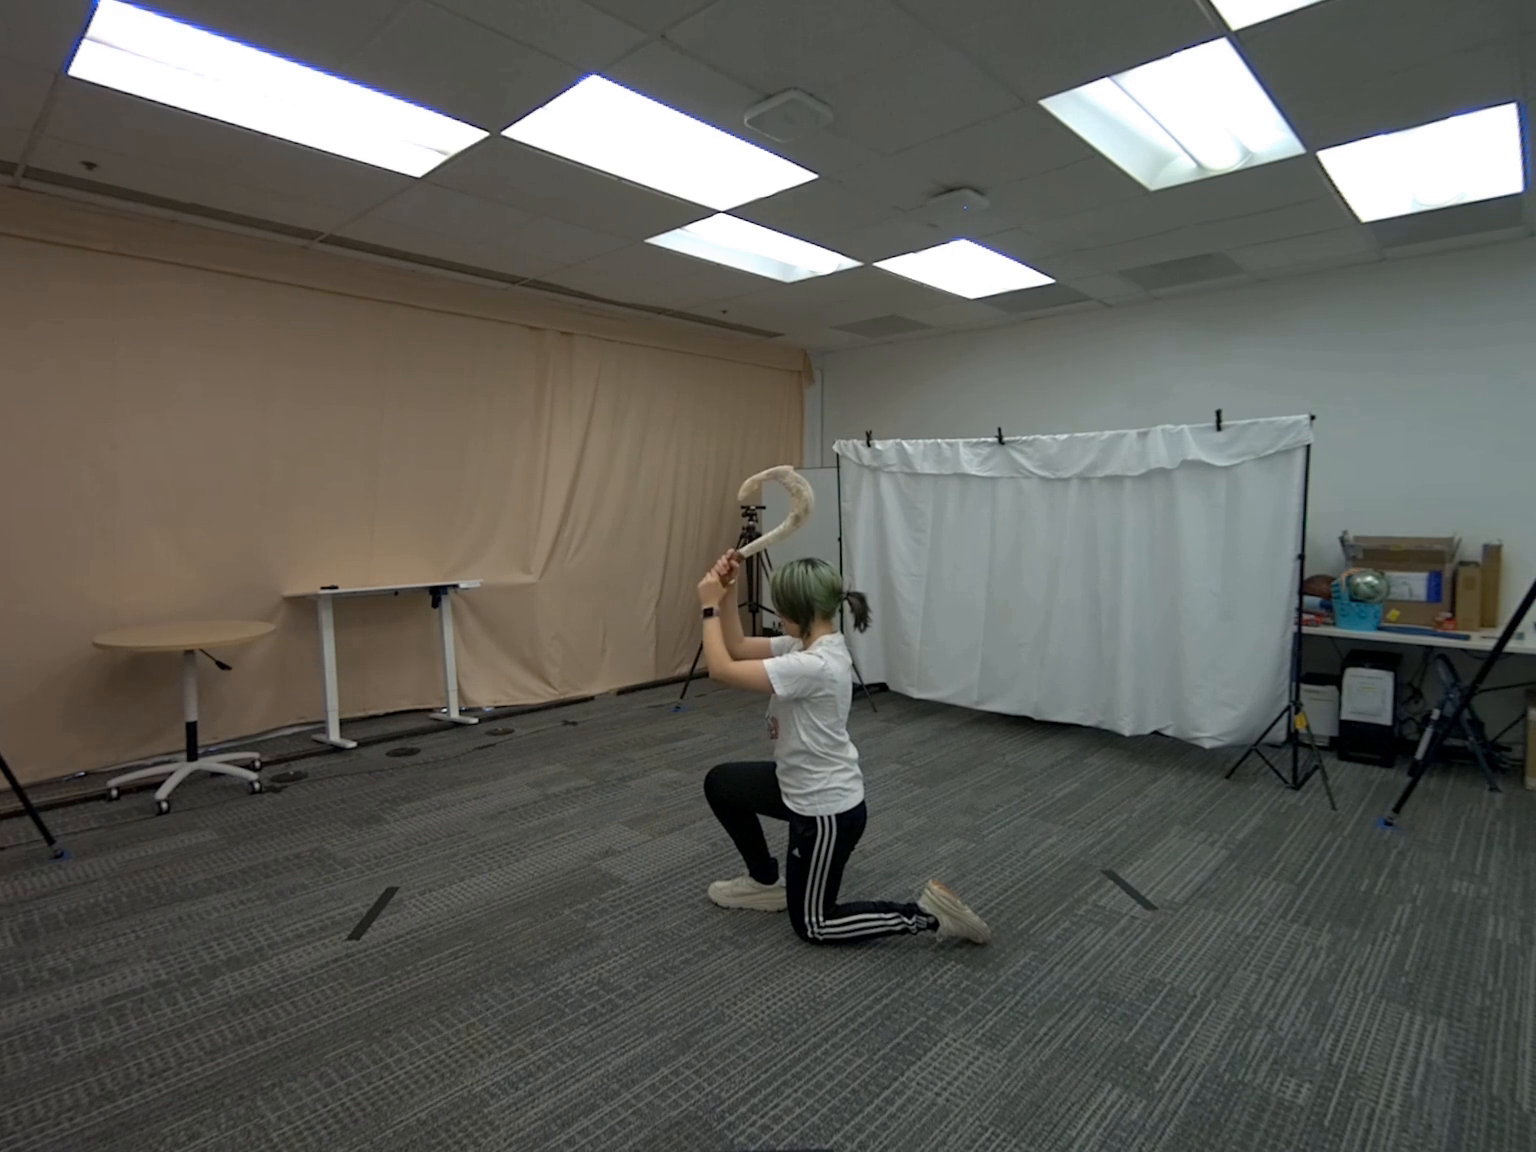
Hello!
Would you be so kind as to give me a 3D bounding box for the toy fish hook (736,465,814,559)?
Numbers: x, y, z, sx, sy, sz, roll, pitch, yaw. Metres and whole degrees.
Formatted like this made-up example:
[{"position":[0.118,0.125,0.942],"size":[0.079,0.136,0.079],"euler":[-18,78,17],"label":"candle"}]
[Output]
[{"position":[-0.073,-0.131,2.691],"size":[0.227,0.508,0.047],"euler":[46,8,9],"label":"toy fish hook"}]
